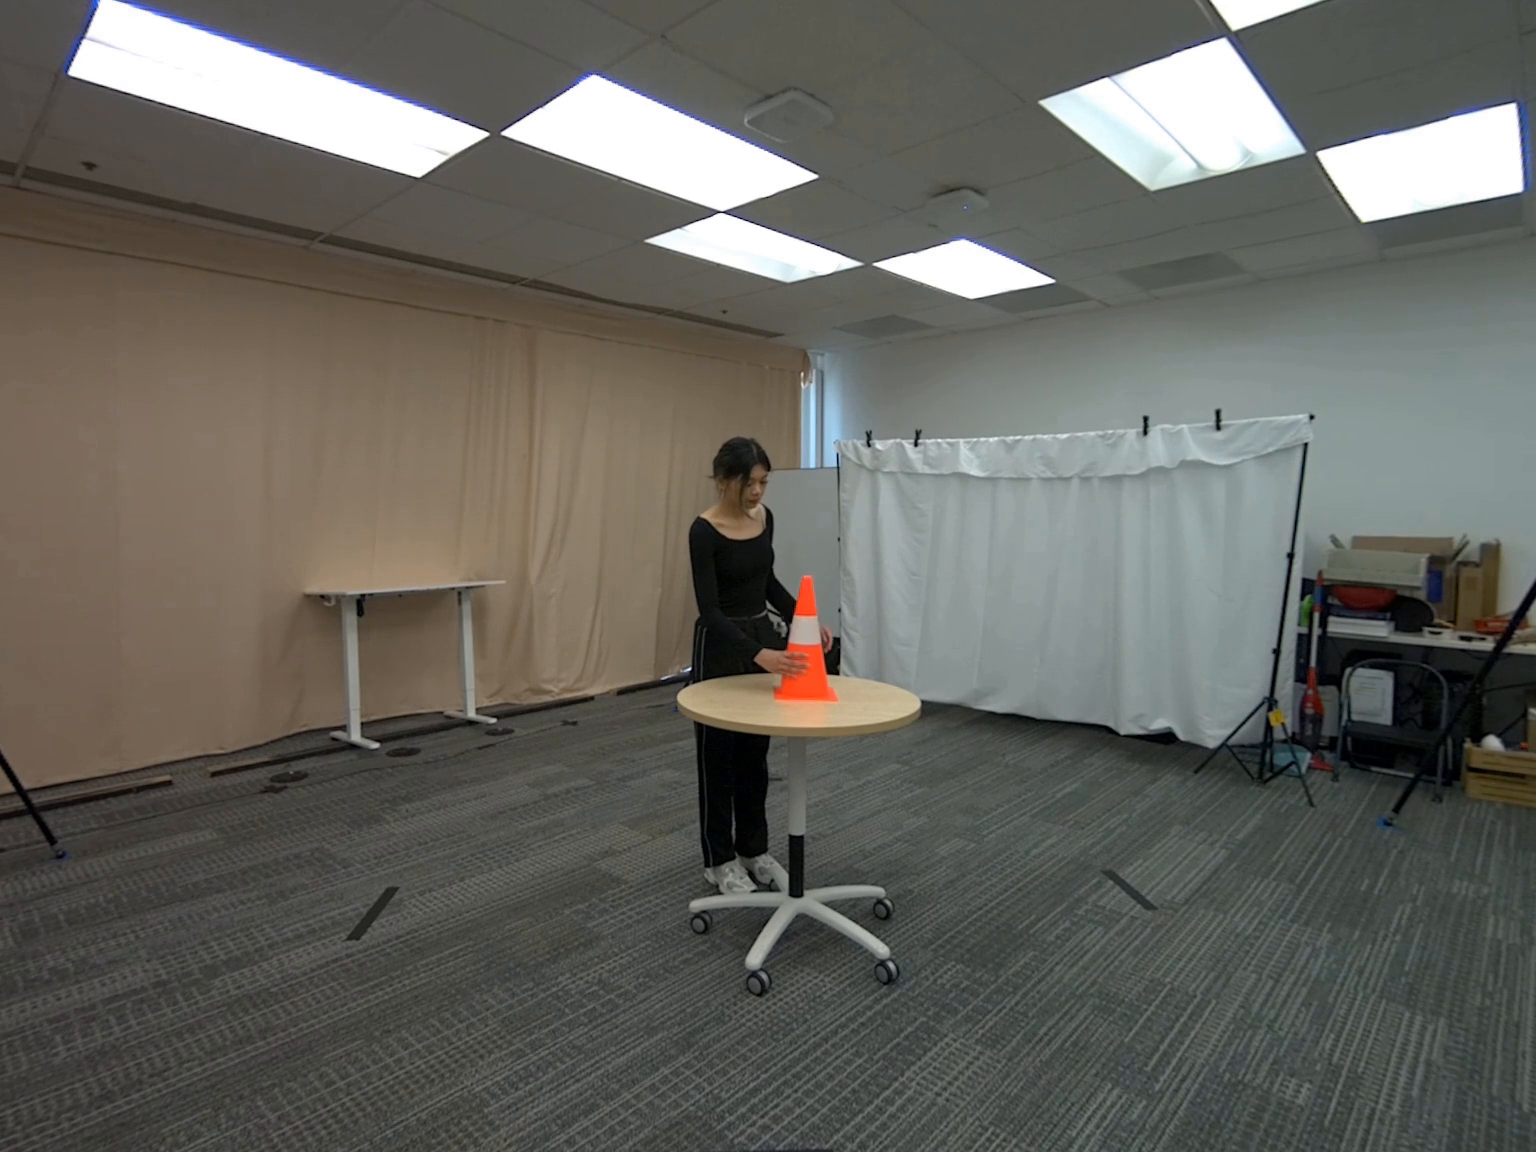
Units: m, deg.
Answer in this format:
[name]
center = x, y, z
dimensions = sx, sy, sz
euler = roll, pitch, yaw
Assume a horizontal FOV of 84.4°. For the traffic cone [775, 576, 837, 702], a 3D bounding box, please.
[traffic cone]
center = 0.130, 0.195, 2.710
dimensions = 0.206, 0.382, 0.203
euler = 2, 5, 2
